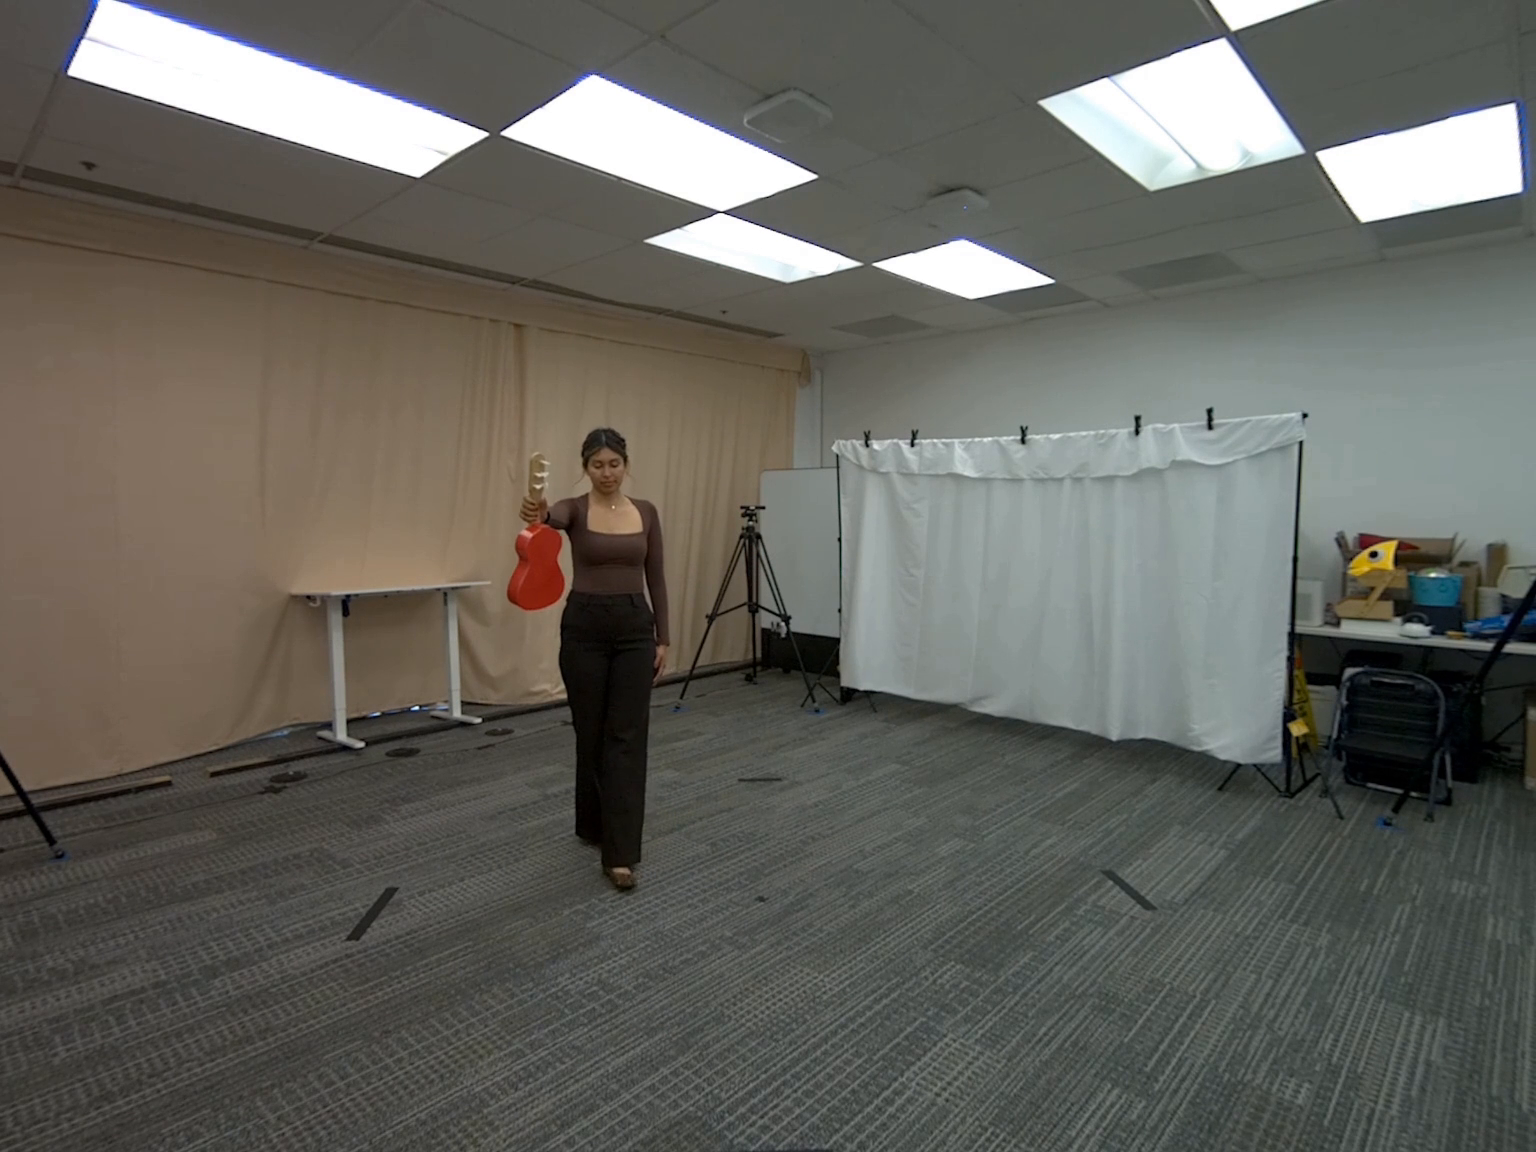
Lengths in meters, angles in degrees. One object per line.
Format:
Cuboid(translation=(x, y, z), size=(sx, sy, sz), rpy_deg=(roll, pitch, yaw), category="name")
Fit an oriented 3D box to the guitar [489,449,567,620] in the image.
Cuboid(translation=(-0.747, -0.131, 2.661), size=(0.073, 0.491, 0.189), rpy_deg=(17, 28, 32), category="guitar")
